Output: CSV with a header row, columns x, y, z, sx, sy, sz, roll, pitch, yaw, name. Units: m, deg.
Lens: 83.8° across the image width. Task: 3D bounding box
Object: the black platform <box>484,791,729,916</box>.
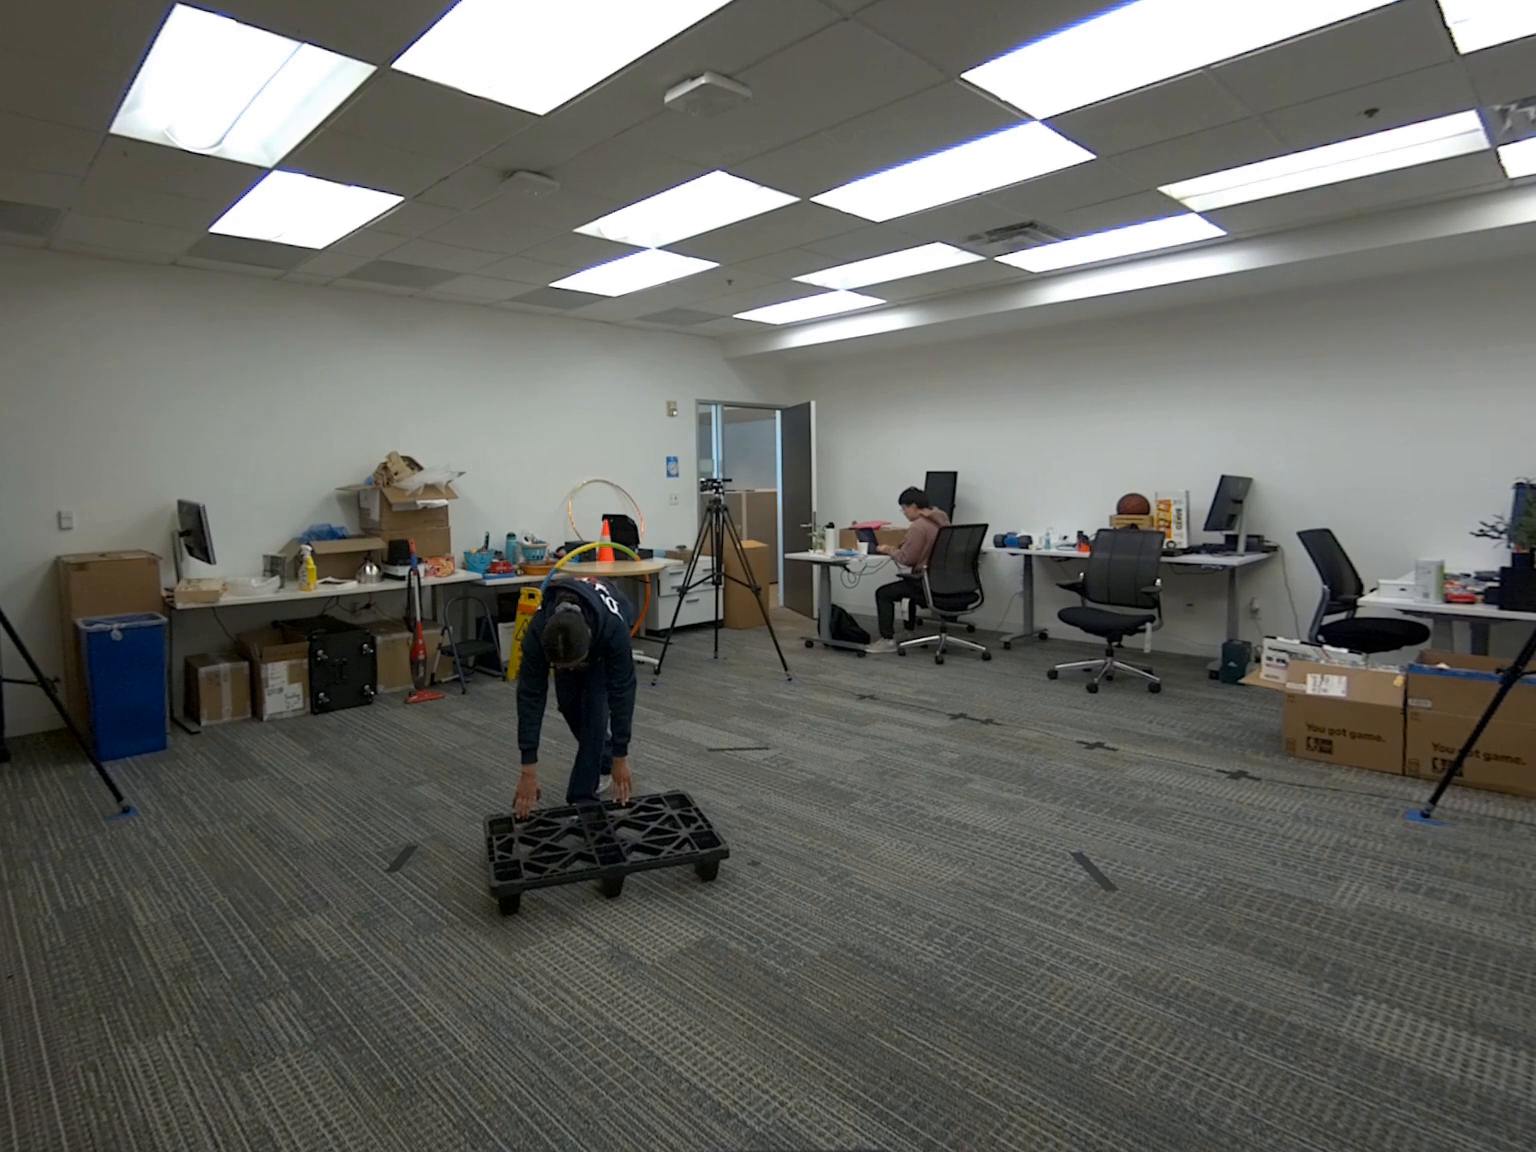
x,y,z,sx,sy,sz,roll,pitch,yaw,name
-0.604,0.988,3.092,0.793,0.143,0.617,-3,6,-18,black platform
